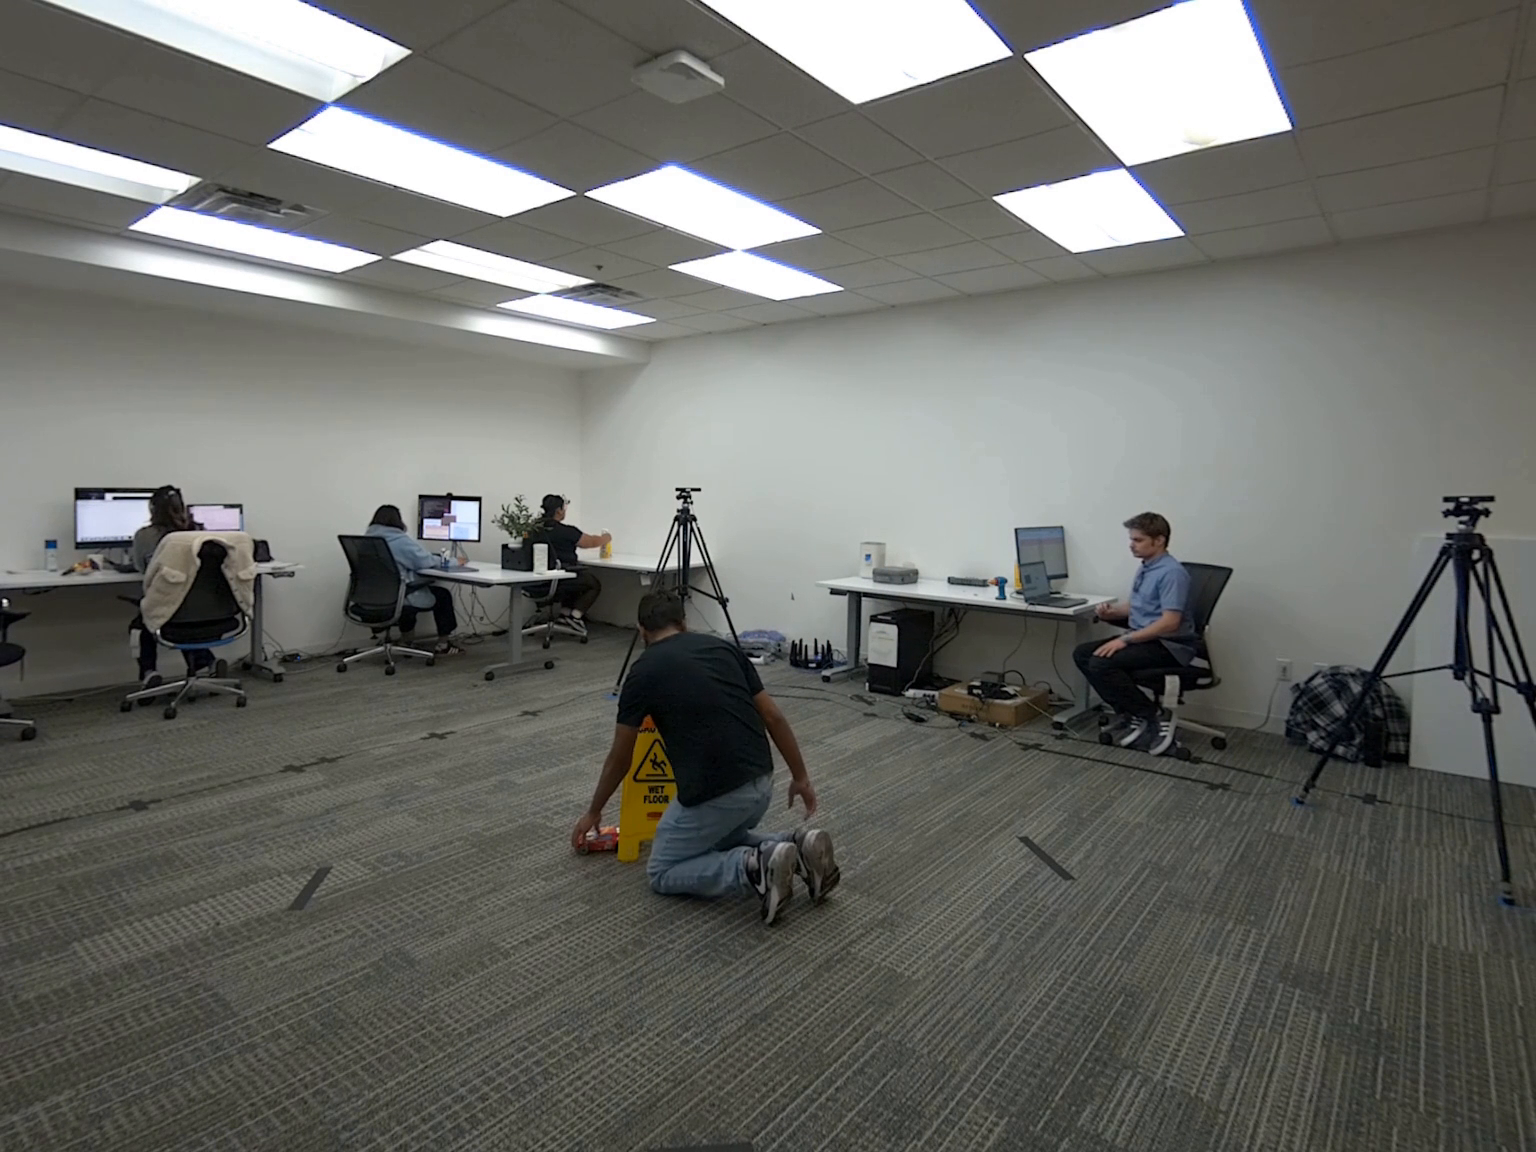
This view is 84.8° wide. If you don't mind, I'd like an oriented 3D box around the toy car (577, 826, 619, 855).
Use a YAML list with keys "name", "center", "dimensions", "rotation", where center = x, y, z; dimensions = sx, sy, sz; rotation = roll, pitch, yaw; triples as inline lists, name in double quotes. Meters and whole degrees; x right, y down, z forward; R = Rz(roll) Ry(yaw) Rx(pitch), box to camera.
- name: "toy car"
  center: [-0.634, 1.014, 3.277]
  dimensions: [0.252, 0.082, 0.132]
  rotation: [-12, 8, -10]
